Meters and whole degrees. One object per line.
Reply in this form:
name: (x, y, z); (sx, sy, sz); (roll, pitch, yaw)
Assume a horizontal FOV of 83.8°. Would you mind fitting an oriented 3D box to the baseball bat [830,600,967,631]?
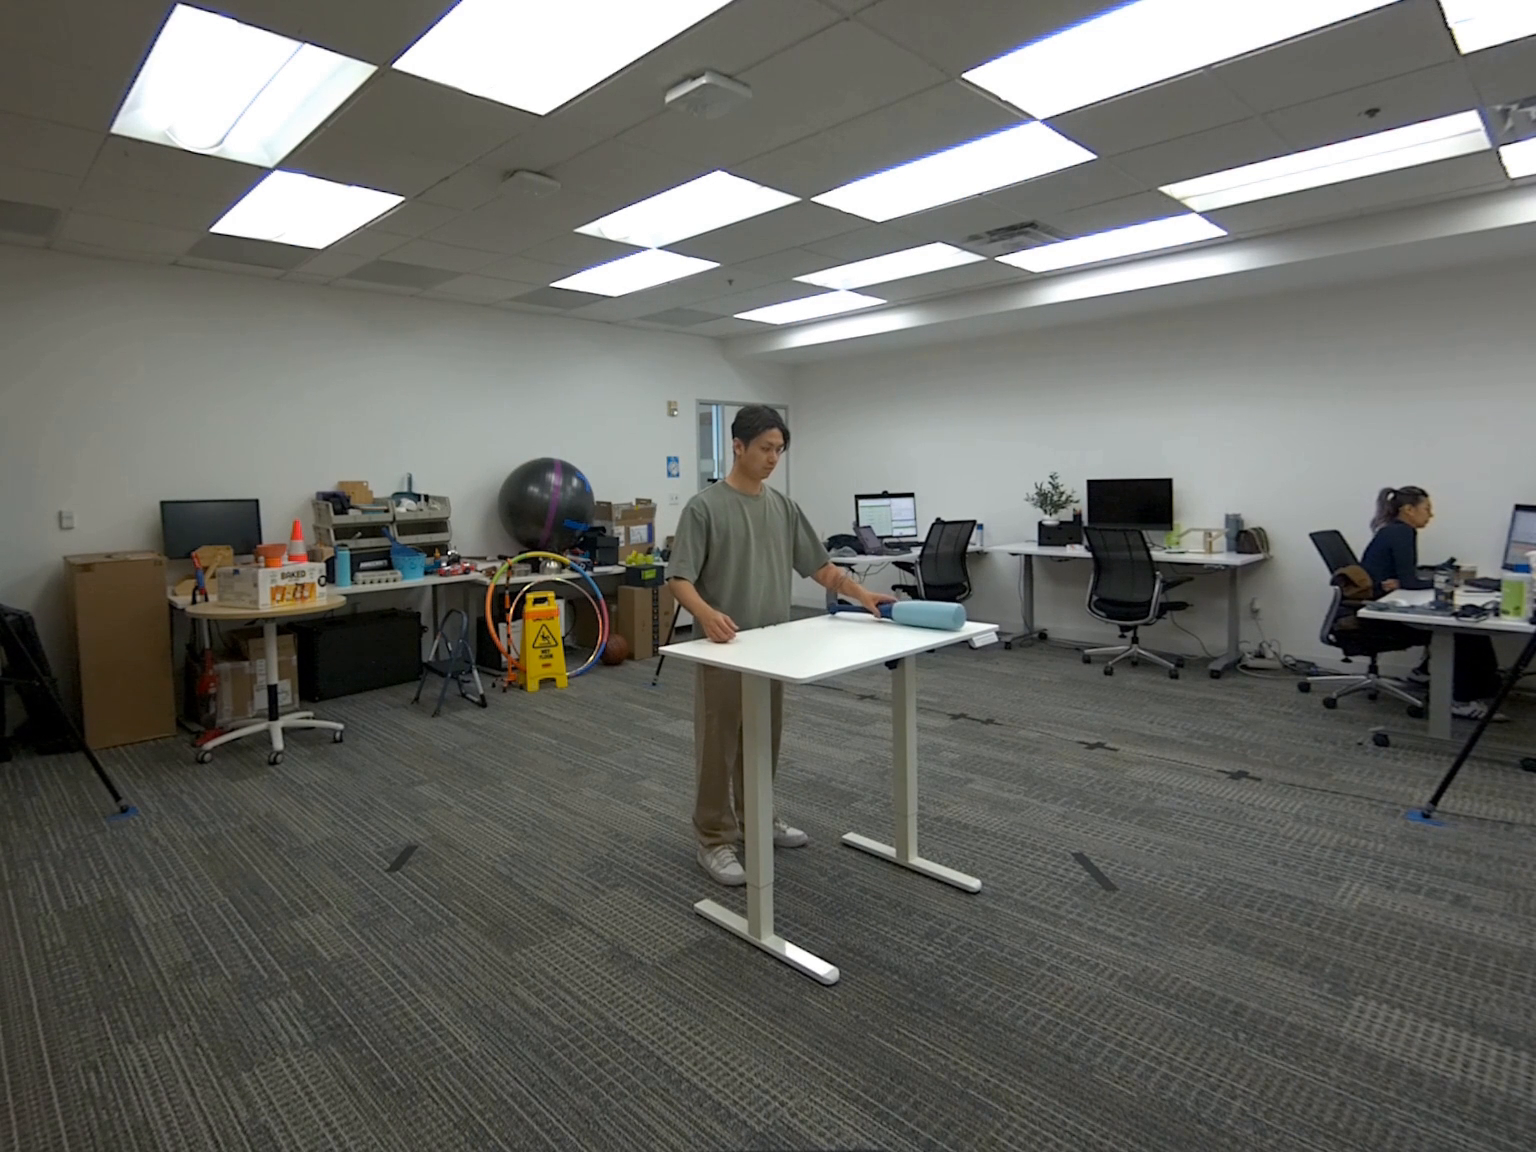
baseball bat: (0.429, 0.132, 2.963); (0.559, 0.089, 0.087); (1, 4, 43)
